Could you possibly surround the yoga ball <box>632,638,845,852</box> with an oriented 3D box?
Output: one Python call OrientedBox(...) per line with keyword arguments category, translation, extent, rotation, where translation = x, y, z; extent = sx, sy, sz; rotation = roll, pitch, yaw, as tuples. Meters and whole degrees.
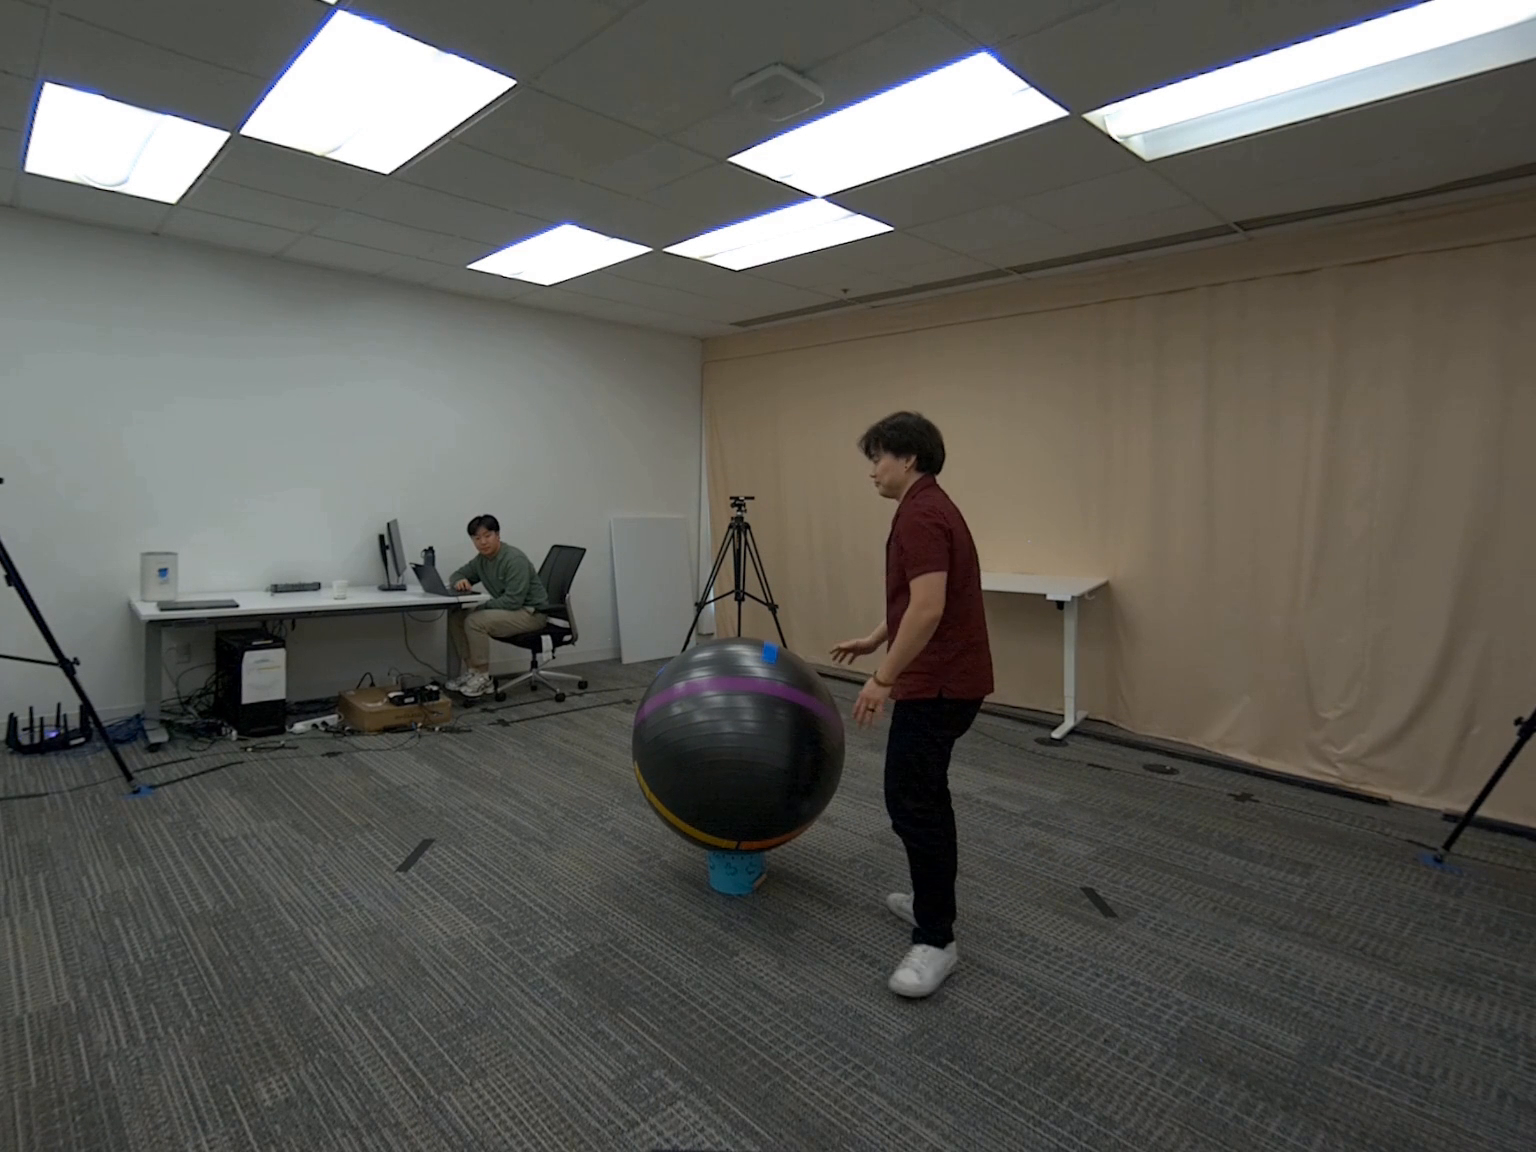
OrientedBox(category="yoga ball", translation=(-0.115, 0.604, 3.031), extent=(0.757, 0.756, 0.761), rotation=(1, 4, -1))
